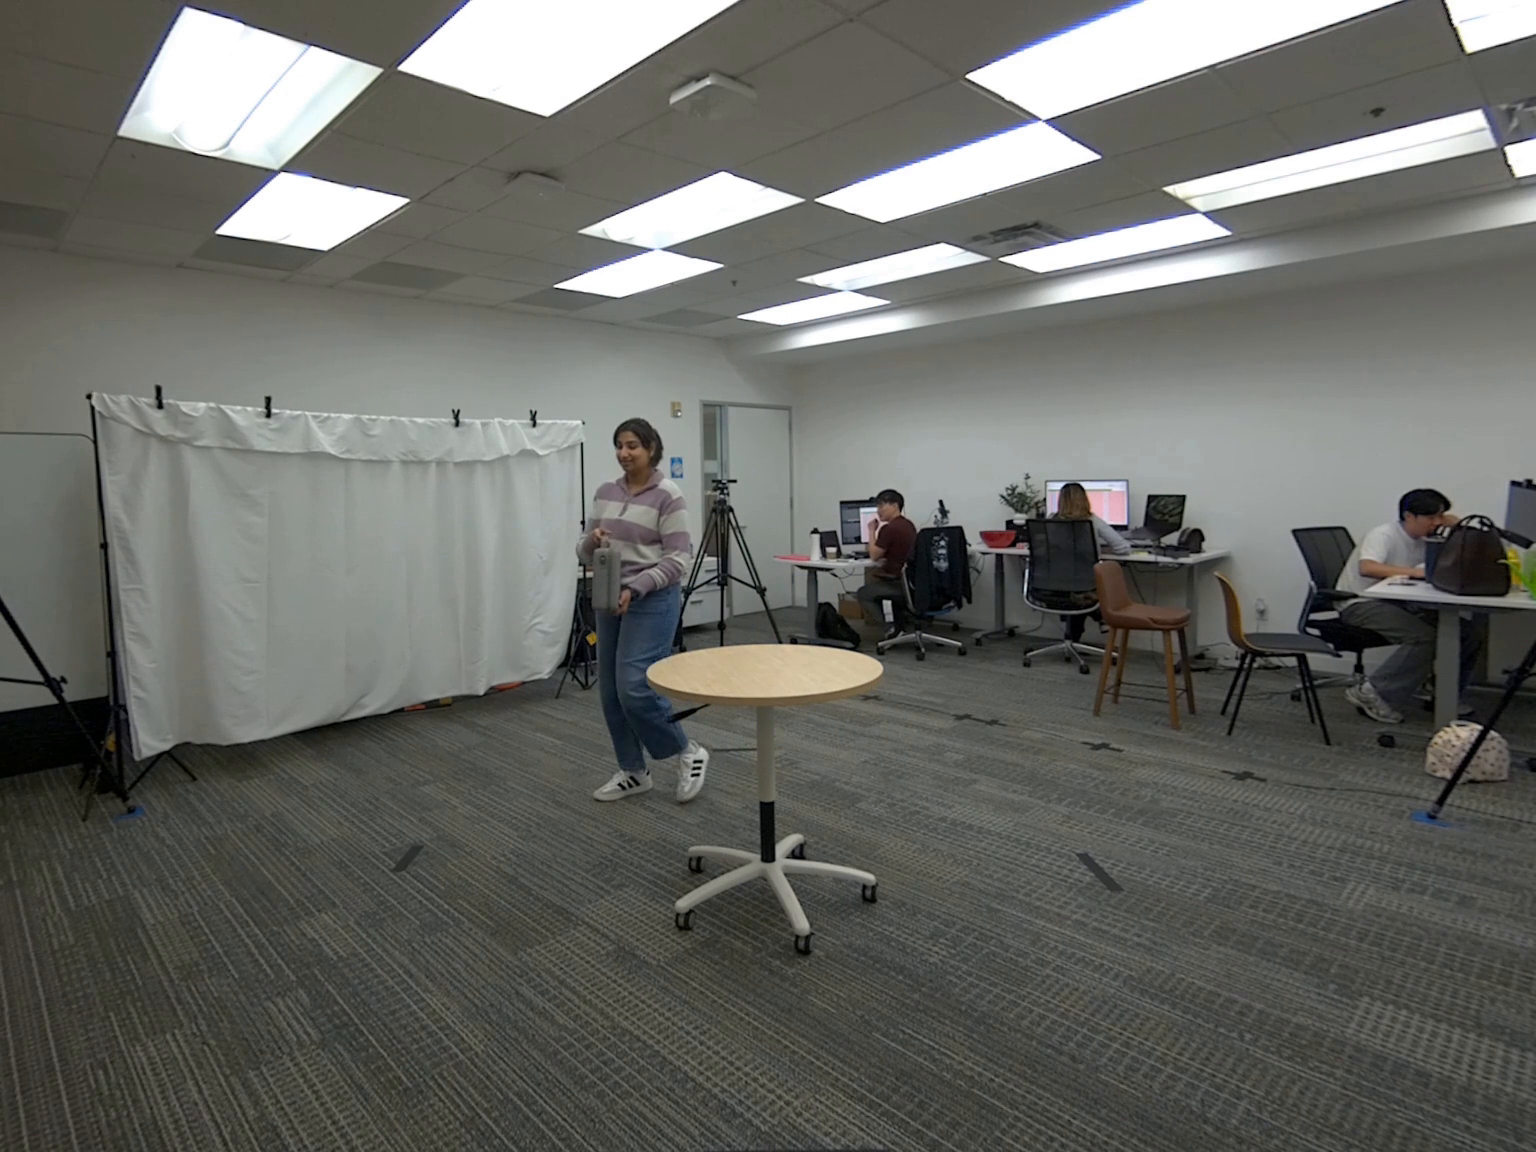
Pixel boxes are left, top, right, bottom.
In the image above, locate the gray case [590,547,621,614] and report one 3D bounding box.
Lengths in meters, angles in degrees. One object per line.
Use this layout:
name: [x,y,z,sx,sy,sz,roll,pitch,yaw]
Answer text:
gray case: [-0.654,0.014,3.471,0.104,0.261,0.257,1,-2,-4]
